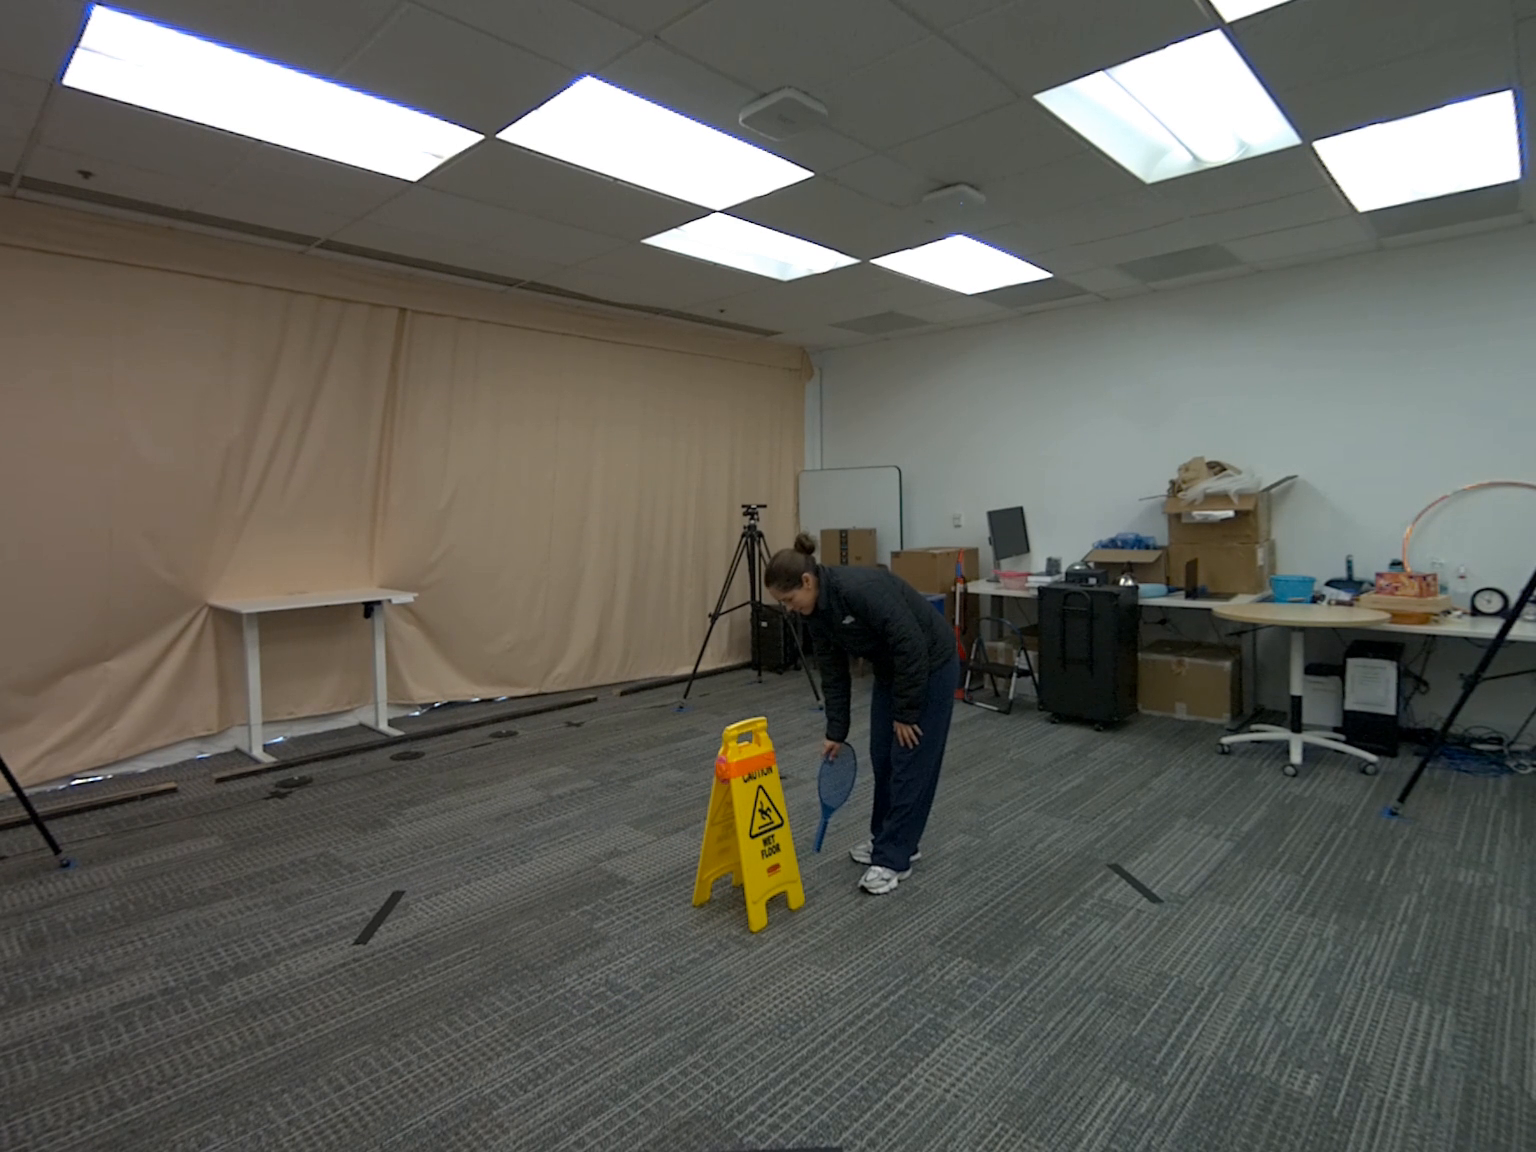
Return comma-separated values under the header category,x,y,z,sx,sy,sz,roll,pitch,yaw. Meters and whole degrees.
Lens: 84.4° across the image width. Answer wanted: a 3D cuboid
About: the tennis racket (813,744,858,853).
category,x,y,z,sx,sy,sz,roll,pitch,yaw
tennis racket,0.265,0.874,3.272,0.206,0.435,0.033,27,-20,-34
